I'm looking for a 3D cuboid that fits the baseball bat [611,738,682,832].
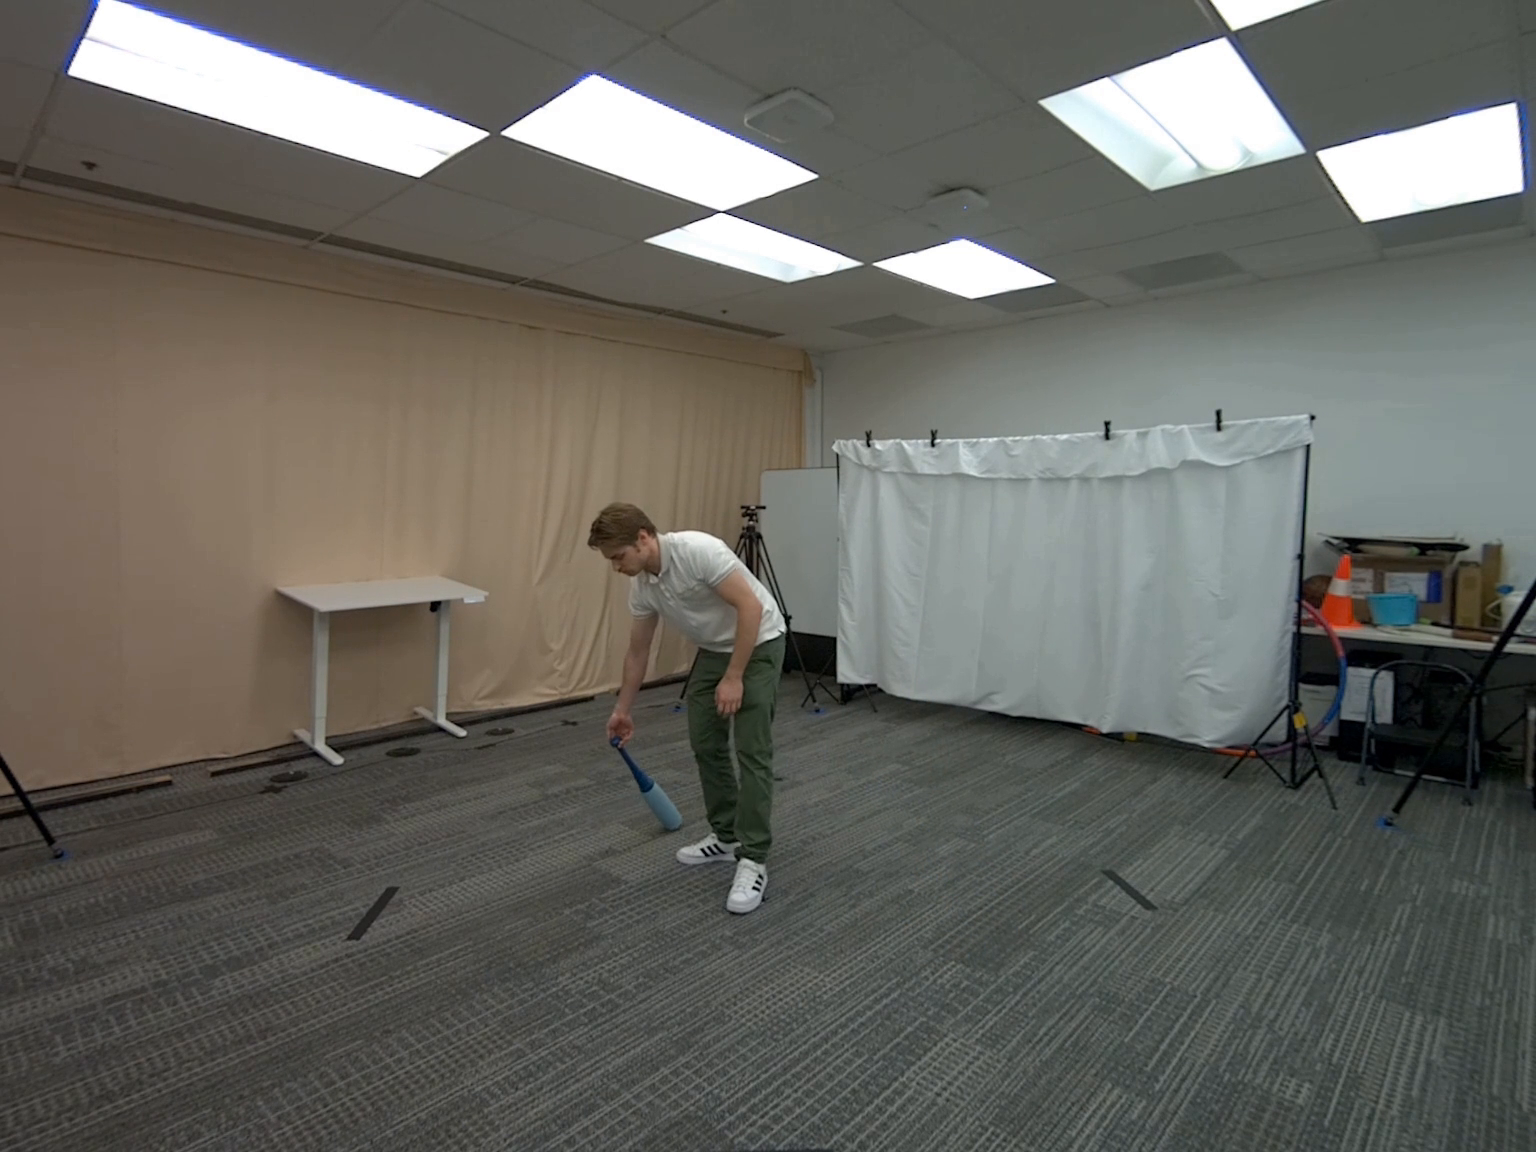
[{"bbox_3d":[-0.521,0.875,3.521,0.090,0.529,0.090,-24,28,12],"label":"baseball bat"}]
